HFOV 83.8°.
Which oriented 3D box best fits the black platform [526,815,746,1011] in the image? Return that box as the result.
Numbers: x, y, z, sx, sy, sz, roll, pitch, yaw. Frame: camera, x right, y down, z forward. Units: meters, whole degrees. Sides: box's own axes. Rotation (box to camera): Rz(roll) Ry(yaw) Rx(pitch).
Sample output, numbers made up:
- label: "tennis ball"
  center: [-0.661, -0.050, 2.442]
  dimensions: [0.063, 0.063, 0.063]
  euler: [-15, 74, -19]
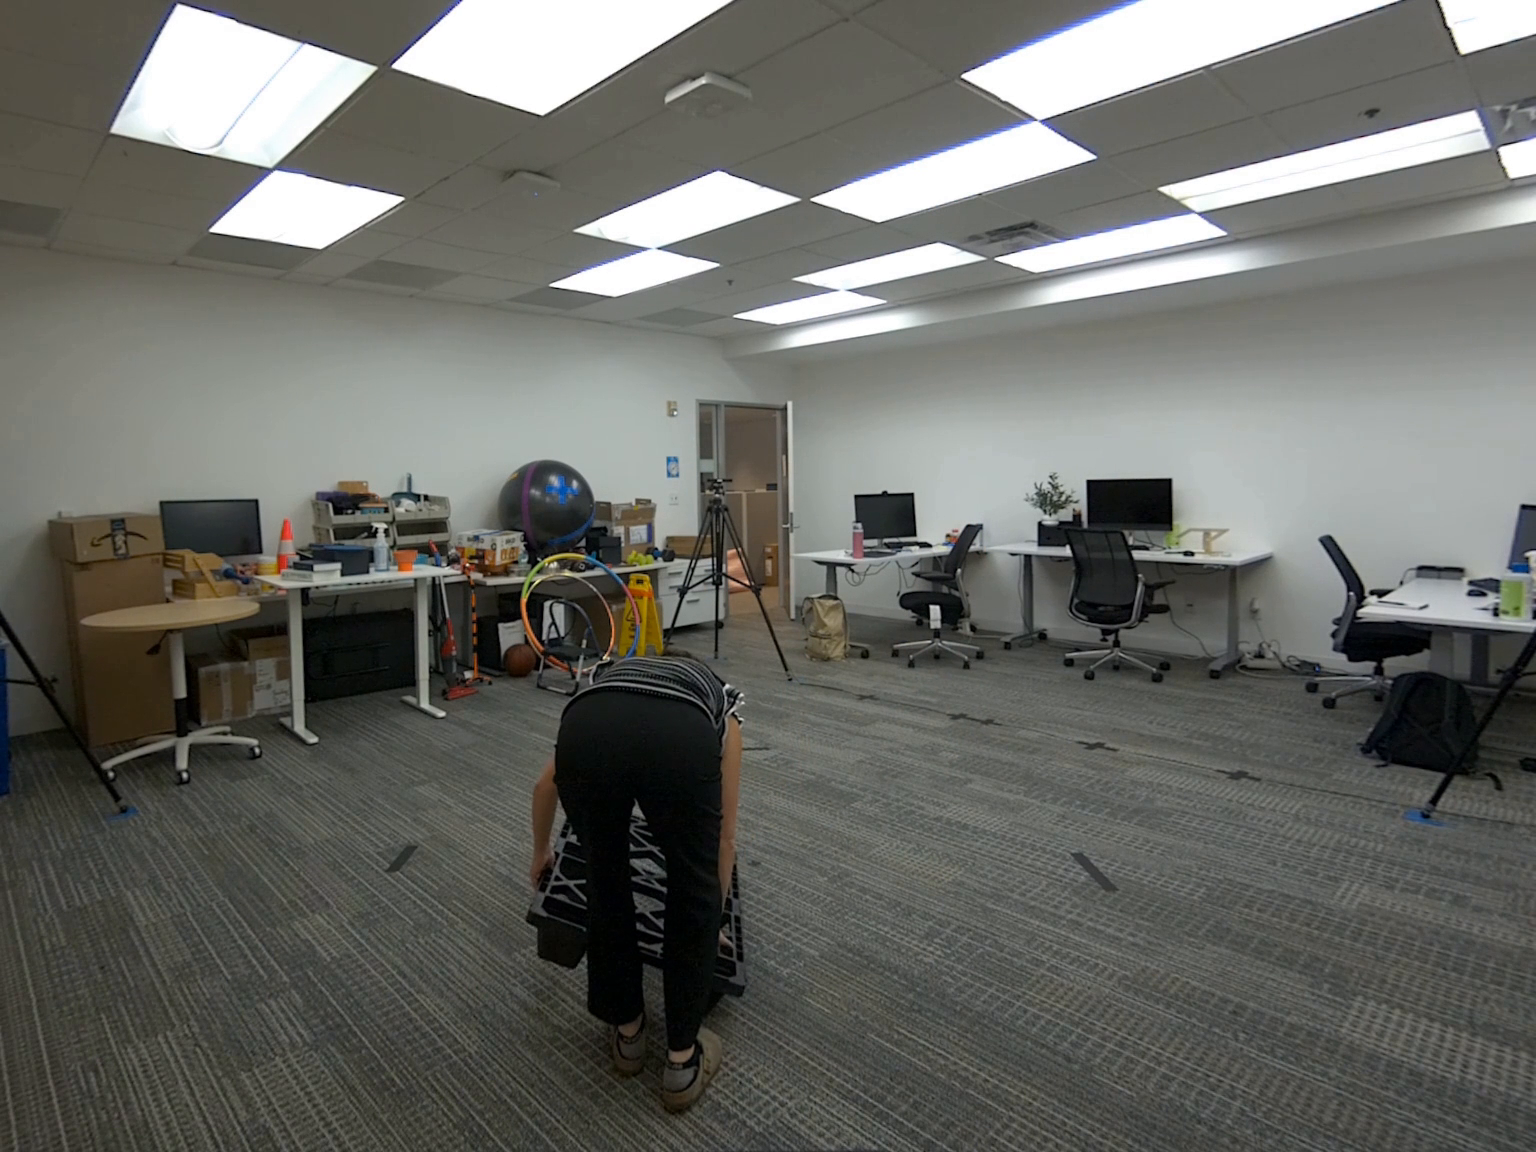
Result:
- label: "black platform"
  center: [-0.379, 0.965, 2.577]
  dimensions: [0.602, 0.143, 0.811]
  euler: [19, 5, -5]
